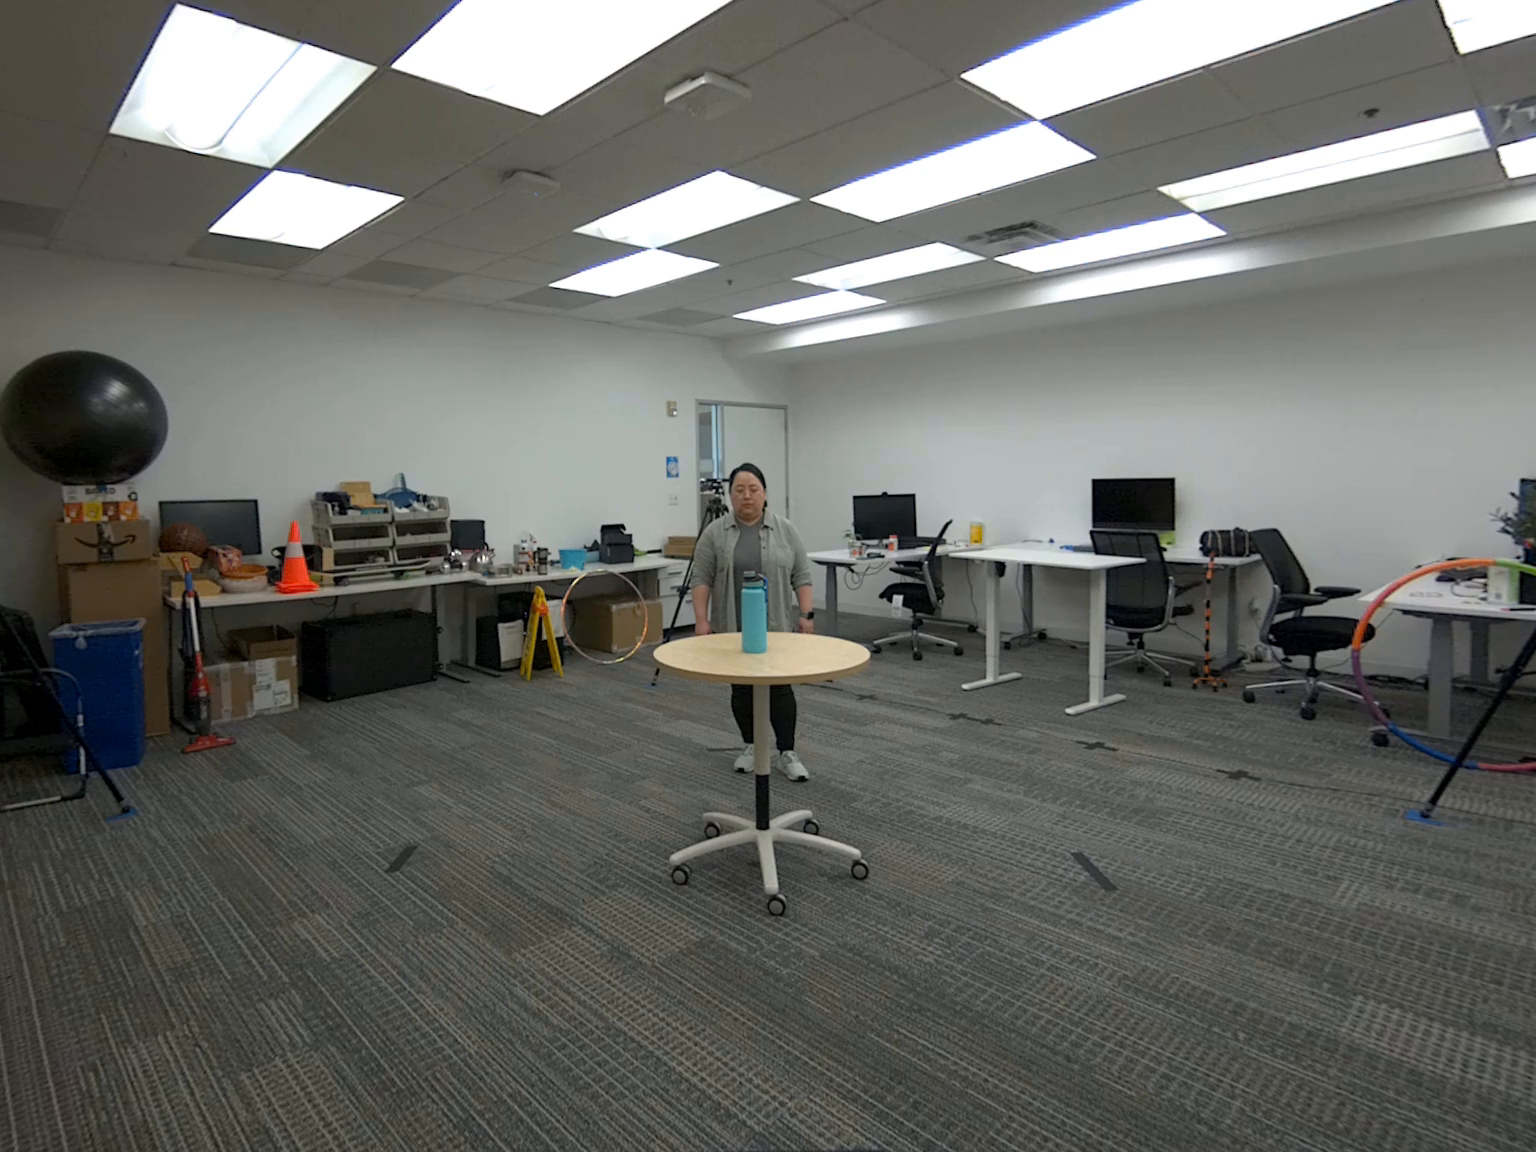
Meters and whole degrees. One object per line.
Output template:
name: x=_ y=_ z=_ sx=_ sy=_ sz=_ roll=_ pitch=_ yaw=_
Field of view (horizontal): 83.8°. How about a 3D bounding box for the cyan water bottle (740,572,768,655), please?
cyan water bottle: x=-0.054 y=0.131 z=3.036 sx=0.092 sy=0.282 sz=0.093 roll=1 pitch=5 yaw=-2
